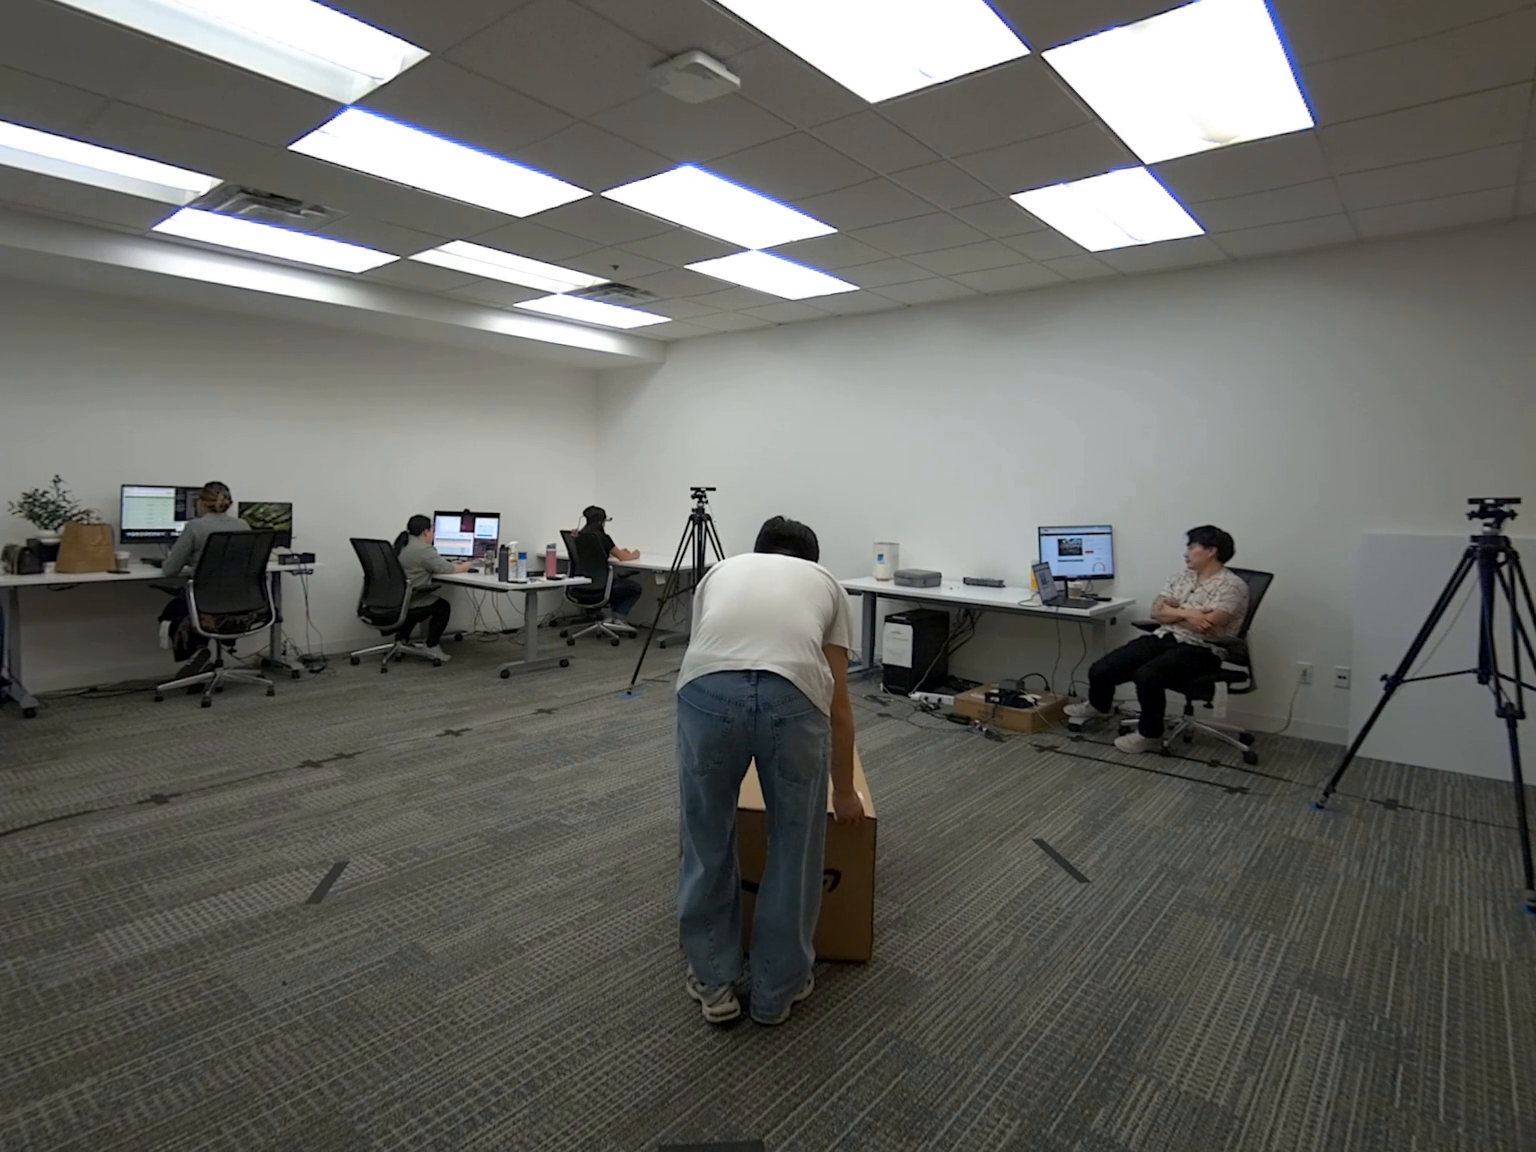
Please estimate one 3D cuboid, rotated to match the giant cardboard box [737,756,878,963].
[{"bbox_3d":[0.035,0.853,3.000,0.580,0.425,1.025,2,5,2],"label":"giant cardboard box"}]
